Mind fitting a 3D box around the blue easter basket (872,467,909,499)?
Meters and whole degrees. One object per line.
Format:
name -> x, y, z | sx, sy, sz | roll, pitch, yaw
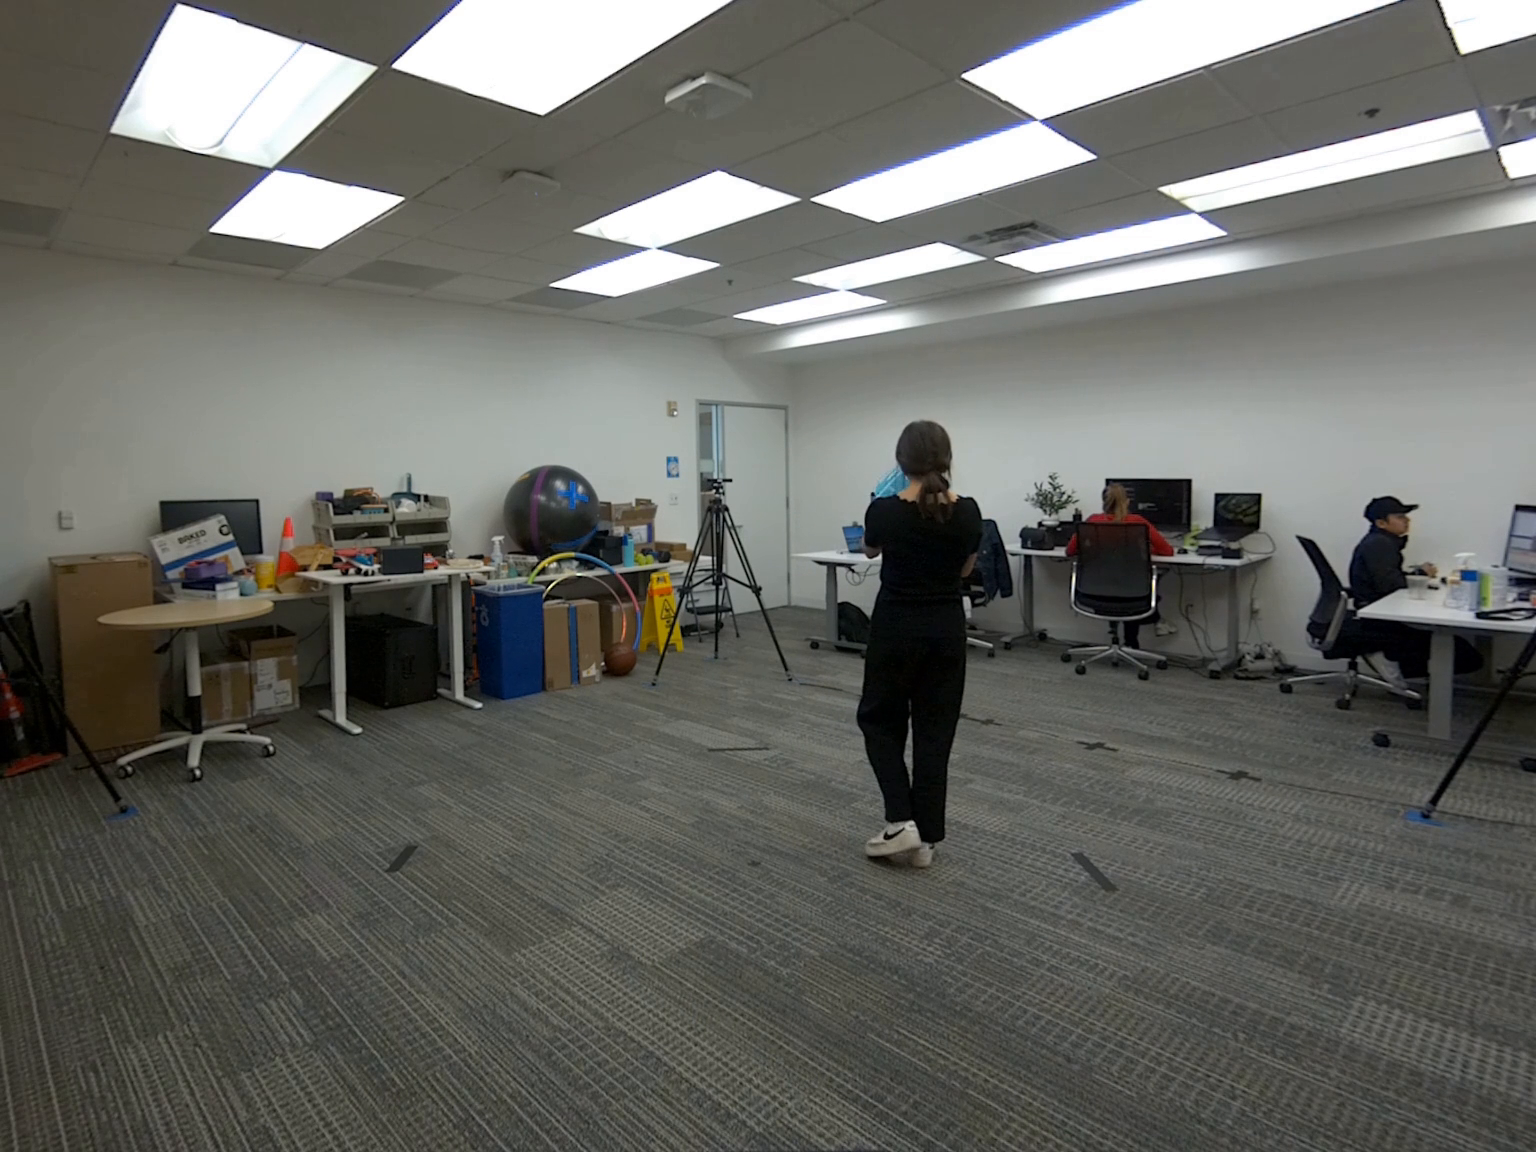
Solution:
blue easter basket -> 0.588, -0.360, 3.531 | 0.239, 0.154, 0.250 | 18, 39, -17
